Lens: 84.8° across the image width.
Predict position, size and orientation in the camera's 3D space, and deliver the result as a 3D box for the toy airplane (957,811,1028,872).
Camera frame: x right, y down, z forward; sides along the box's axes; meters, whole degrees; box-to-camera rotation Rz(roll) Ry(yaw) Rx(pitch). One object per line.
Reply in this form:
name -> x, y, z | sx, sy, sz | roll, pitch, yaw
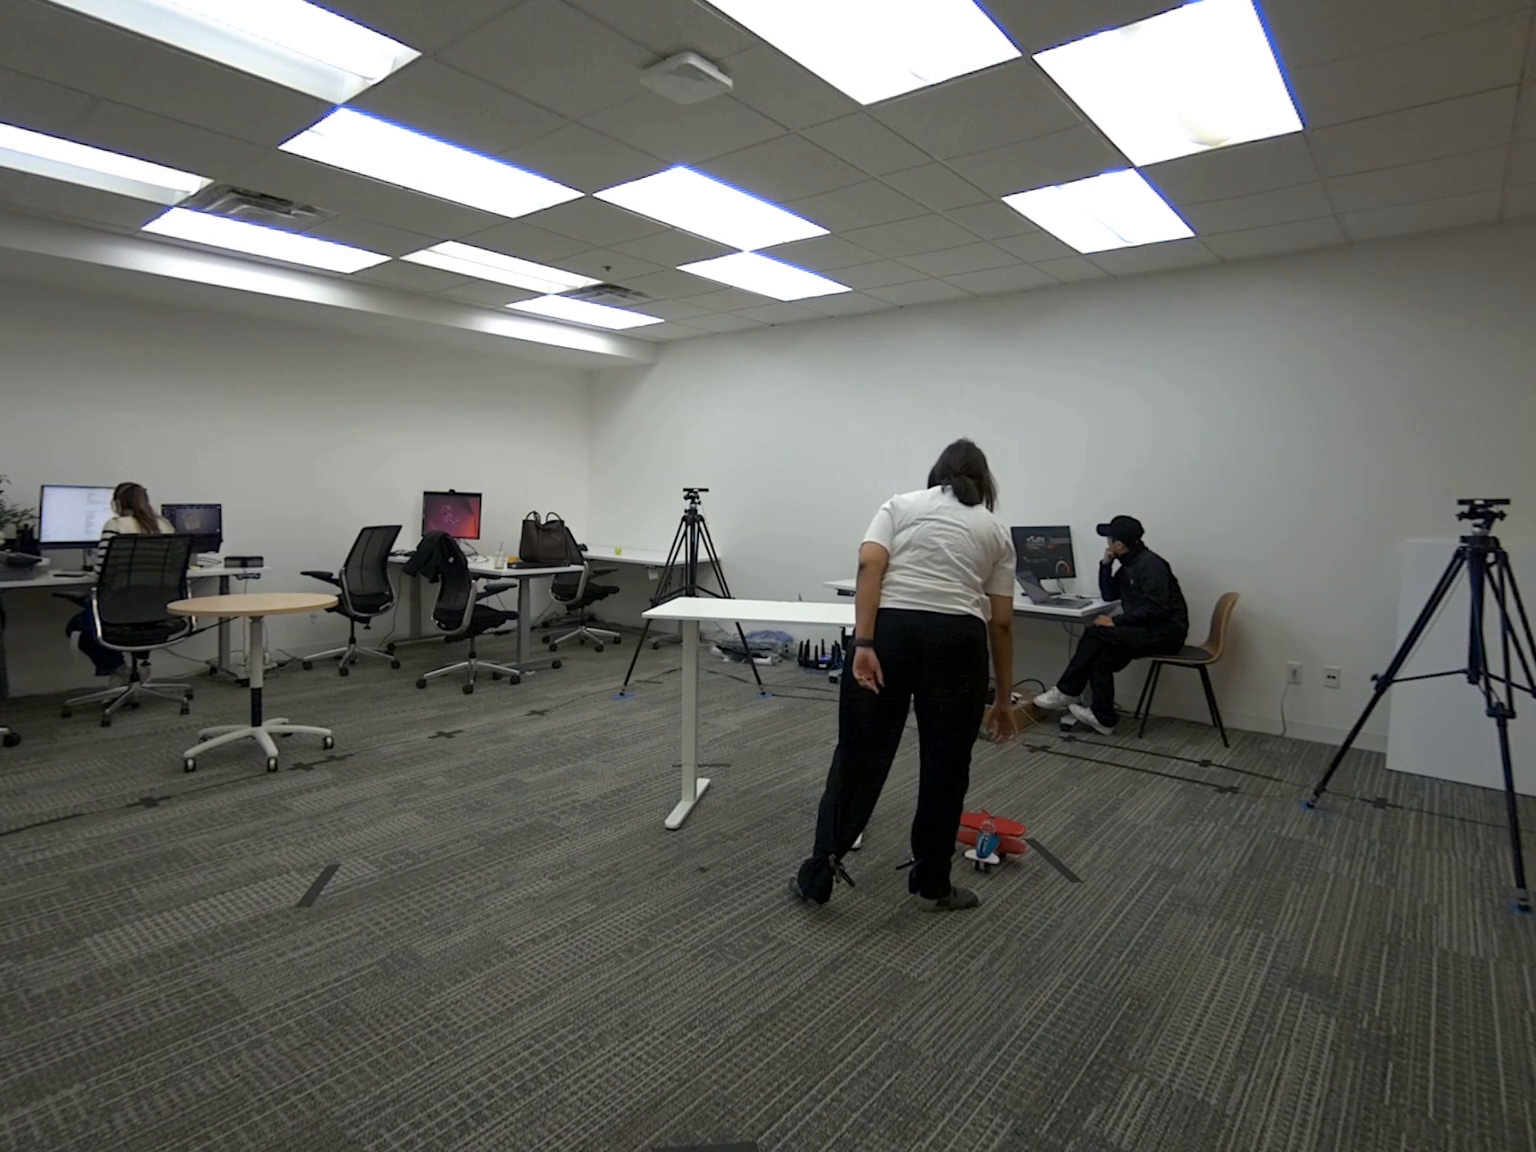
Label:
toy airplane -> 0.852, 1.008, 3.229 | 0.251, 0.156, 0.260 | 2, 4, -1
